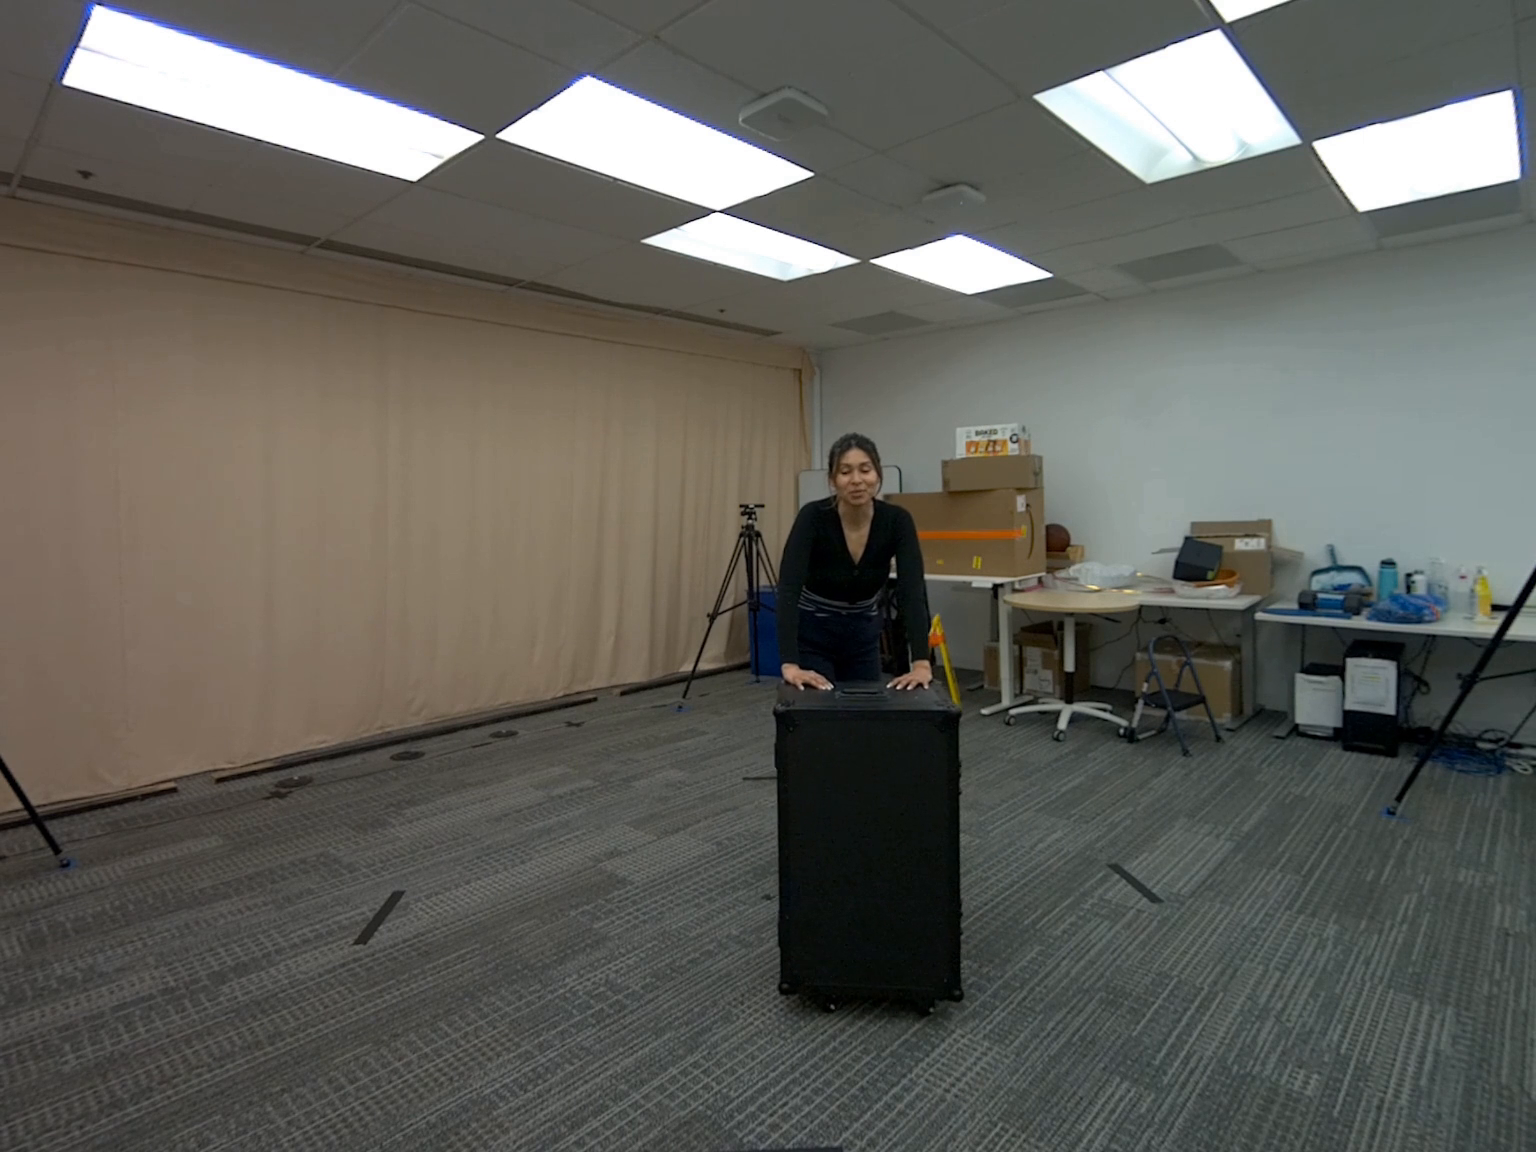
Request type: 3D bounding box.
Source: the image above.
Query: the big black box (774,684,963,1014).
[{"bbox_3d":[0.272,0.761,2.417,0.525,0.860,0.394,-1,2,5],"label":"big black box"}]
